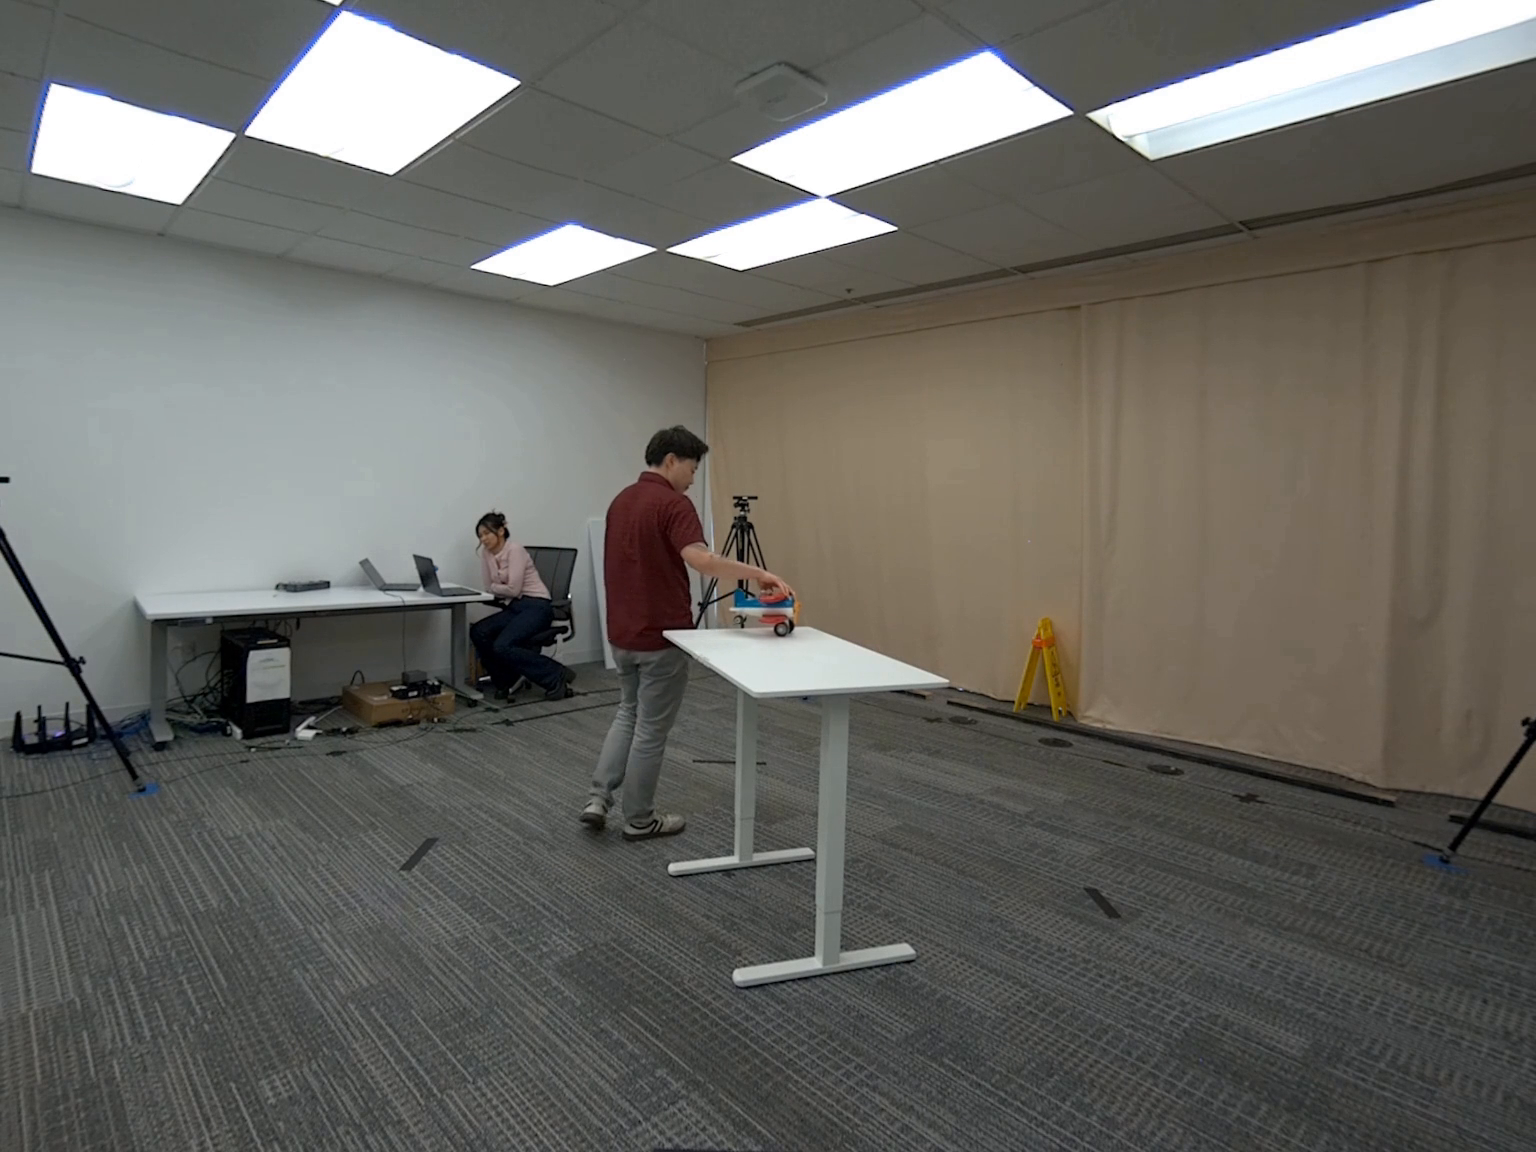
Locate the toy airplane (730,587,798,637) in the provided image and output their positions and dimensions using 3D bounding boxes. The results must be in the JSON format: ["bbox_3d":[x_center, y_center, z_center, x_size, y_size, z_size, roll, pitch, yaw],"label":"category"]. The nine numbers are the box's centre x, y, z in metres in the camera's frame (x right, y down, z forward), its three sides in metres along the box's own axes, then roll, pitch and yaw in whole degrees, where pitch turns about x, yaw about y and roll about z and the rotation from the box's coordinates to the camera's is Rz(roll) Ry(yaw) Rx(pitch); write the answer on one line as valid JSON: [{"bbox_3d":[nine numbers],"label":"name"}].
[{"bbox_3d":[-0.017,0.132,3.145,0.257,0.156,0.254,10,7,-12],"label":"toy airplane"}]
